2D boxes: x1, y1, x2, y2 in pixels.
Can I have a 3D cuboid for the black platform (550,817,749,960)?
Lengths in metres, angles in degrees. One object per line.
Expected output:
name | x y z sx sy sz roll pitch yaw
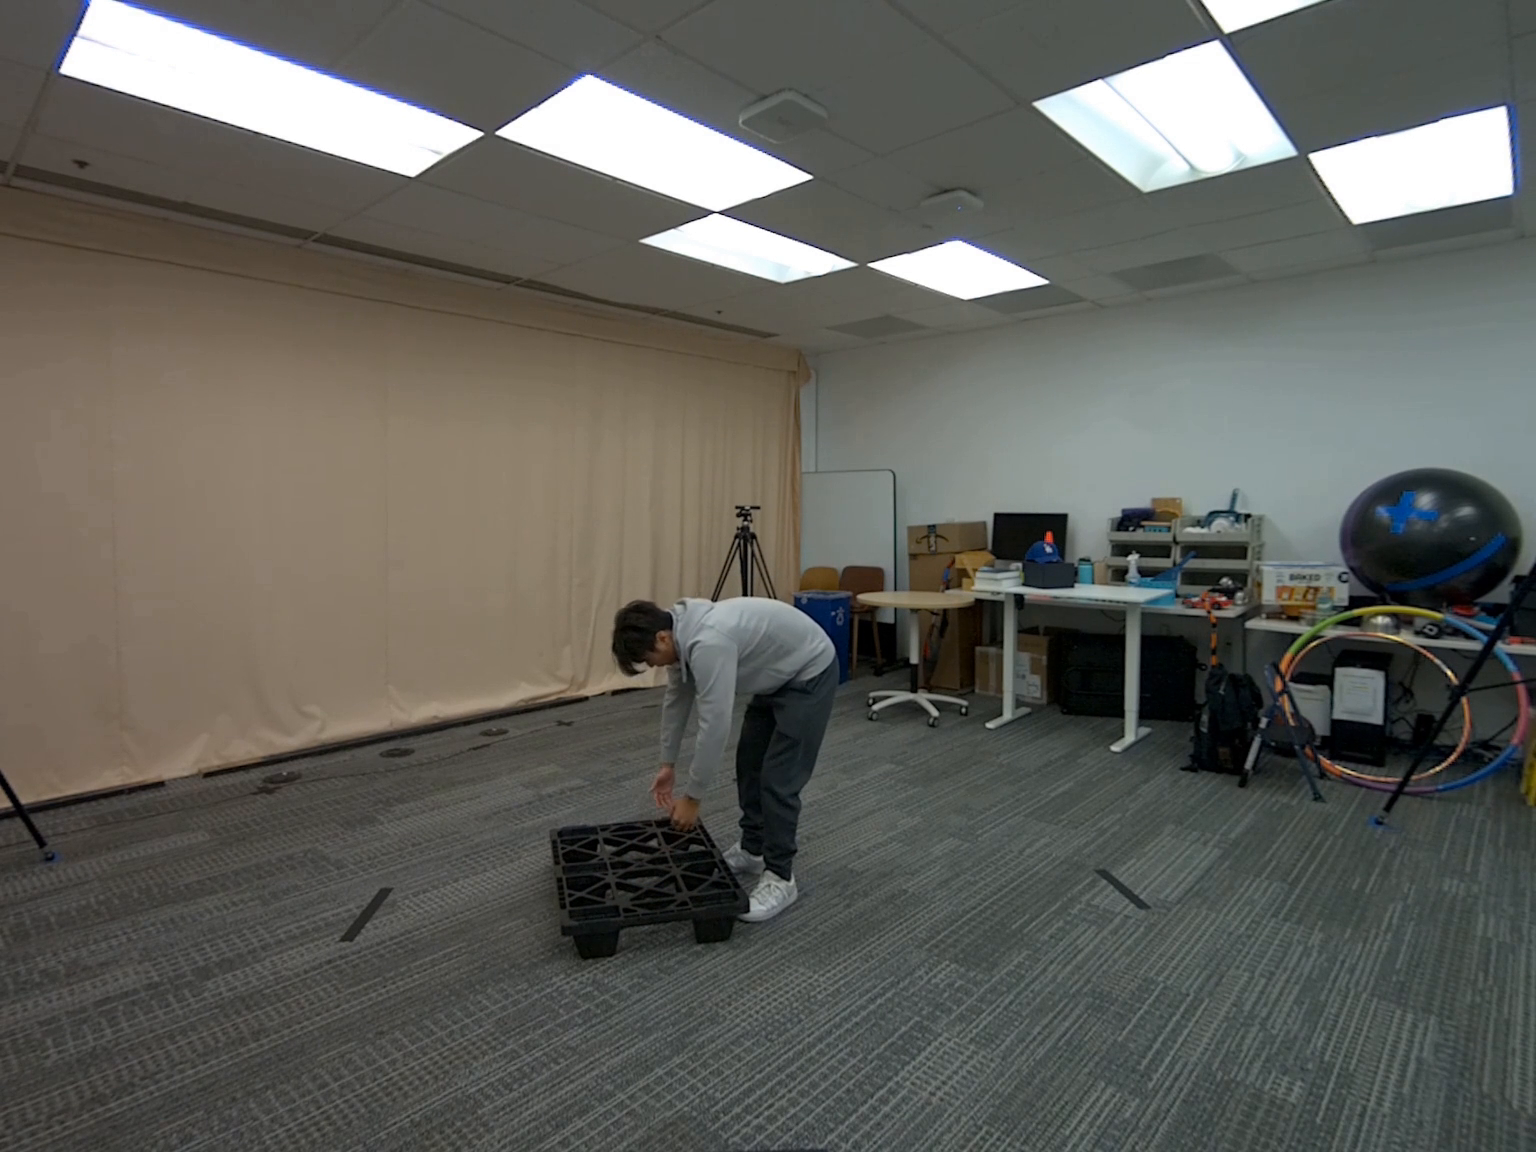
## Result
black platform | -0.457 1.079 2.988 0.596 0.143 0.820 -2 5 -15
